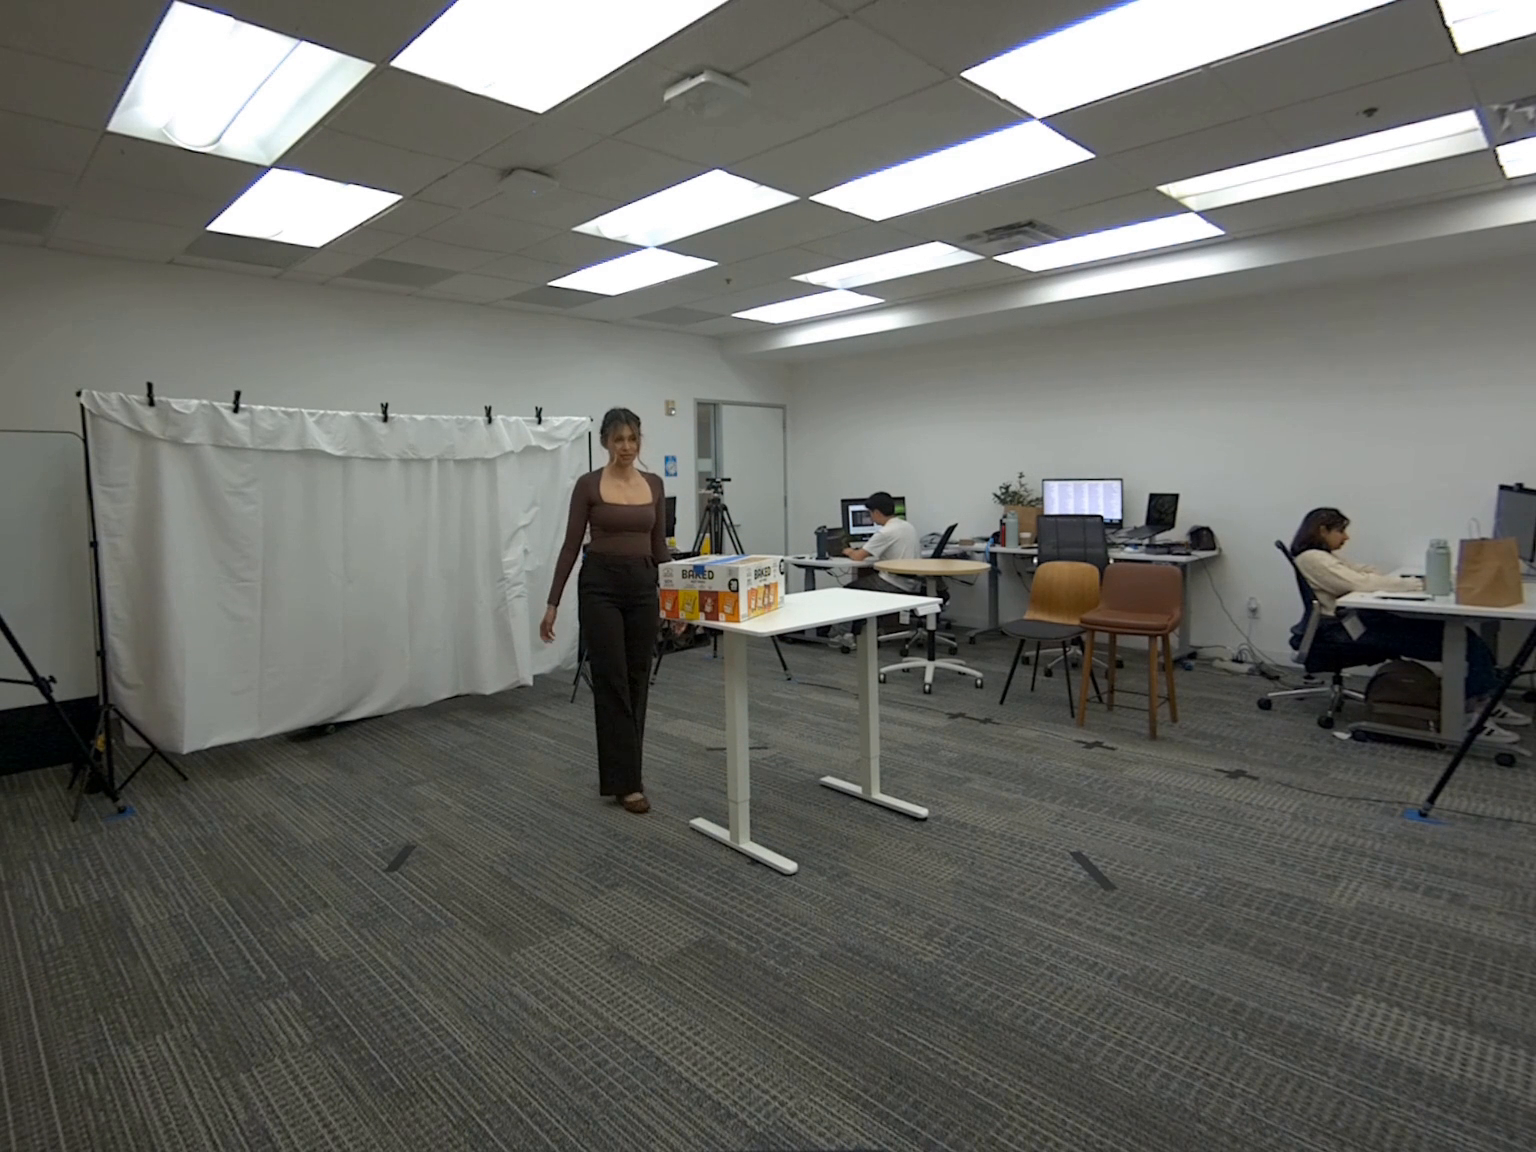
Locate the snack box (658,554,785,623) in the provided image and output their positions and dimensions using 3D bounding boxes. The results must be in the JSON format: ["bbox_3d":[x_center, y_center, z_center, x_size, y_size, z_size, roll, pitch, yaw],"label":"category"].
[{"bbox_3d":[-0.173,0.039,3.304,0.348,0.205,0.397,2,7,26],"label":"snack box"}]
